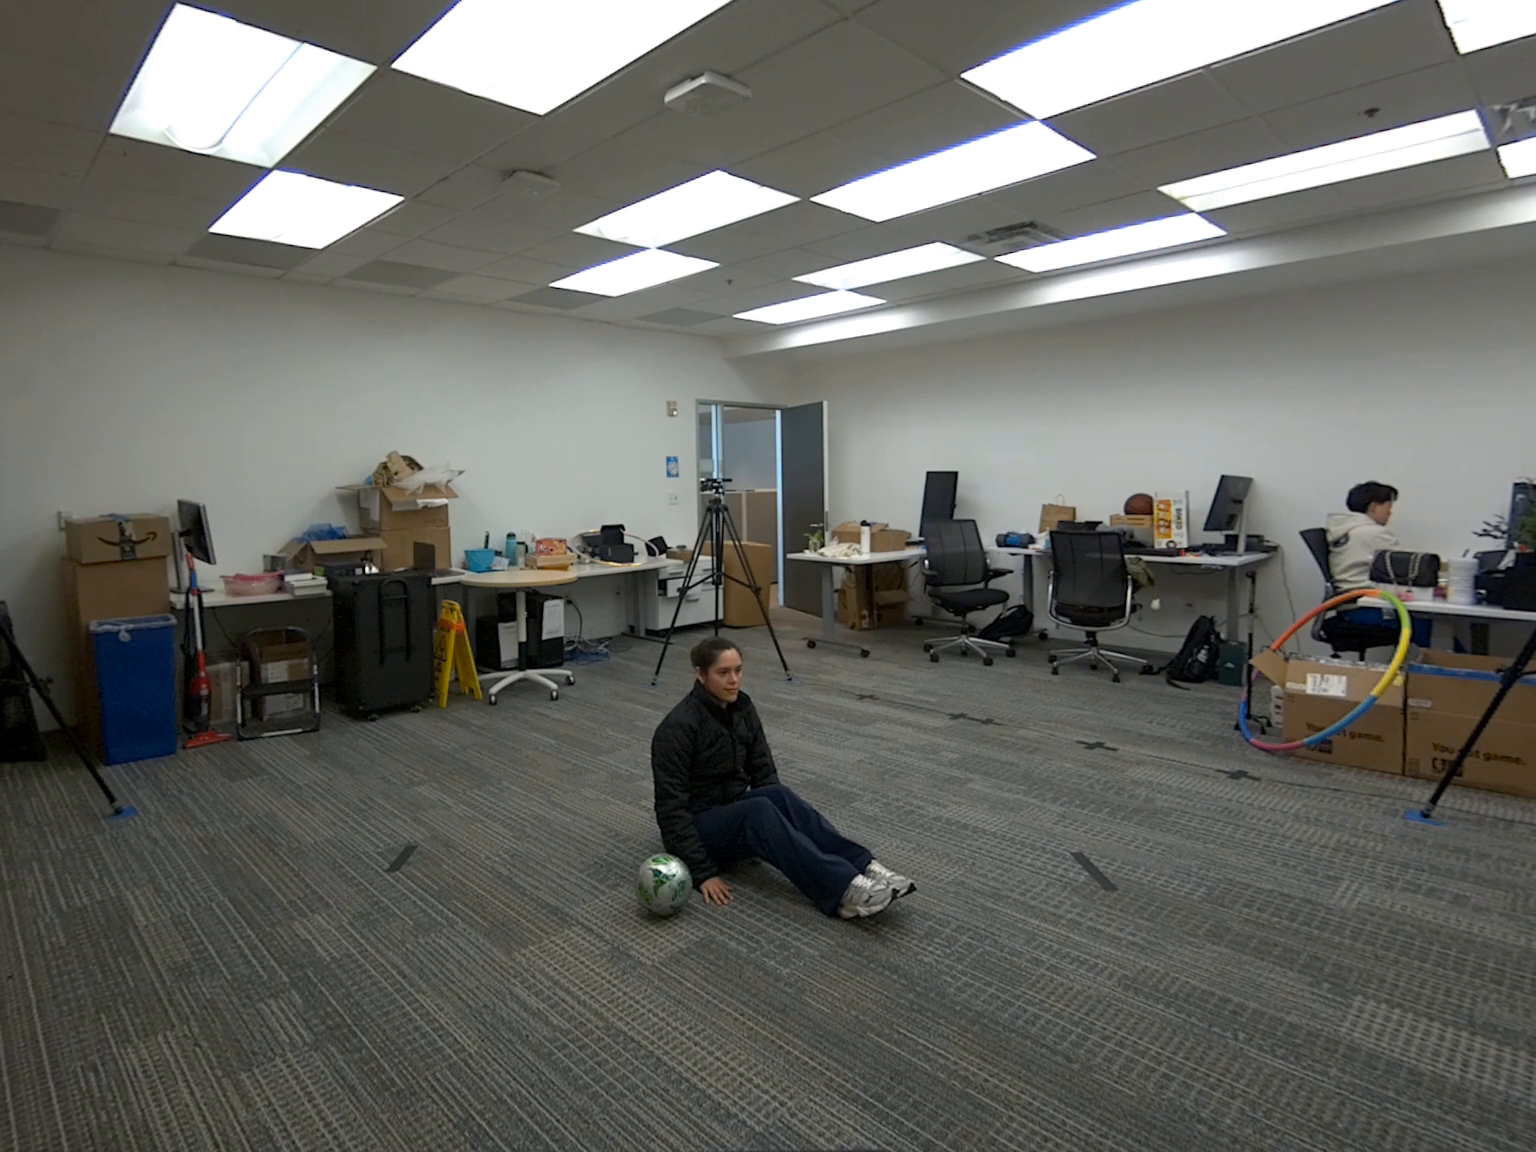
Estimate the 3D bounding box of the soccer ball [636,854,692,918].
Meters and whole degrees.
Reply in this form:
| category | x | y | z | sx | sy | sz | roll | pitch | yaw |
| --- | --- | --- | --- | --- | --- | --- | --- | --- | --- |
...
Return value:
| category | x | y | z | sx | sy | sz | roll | pitch | yaw |
| --- | --- | --- | --- | --- | --- | --- | --- | --- | --- |
| soccer ball | -0.333 | 0.999 | 2.759 | 0.187 | 0.187 | 0.188 | -1 | 5 | -2 |
